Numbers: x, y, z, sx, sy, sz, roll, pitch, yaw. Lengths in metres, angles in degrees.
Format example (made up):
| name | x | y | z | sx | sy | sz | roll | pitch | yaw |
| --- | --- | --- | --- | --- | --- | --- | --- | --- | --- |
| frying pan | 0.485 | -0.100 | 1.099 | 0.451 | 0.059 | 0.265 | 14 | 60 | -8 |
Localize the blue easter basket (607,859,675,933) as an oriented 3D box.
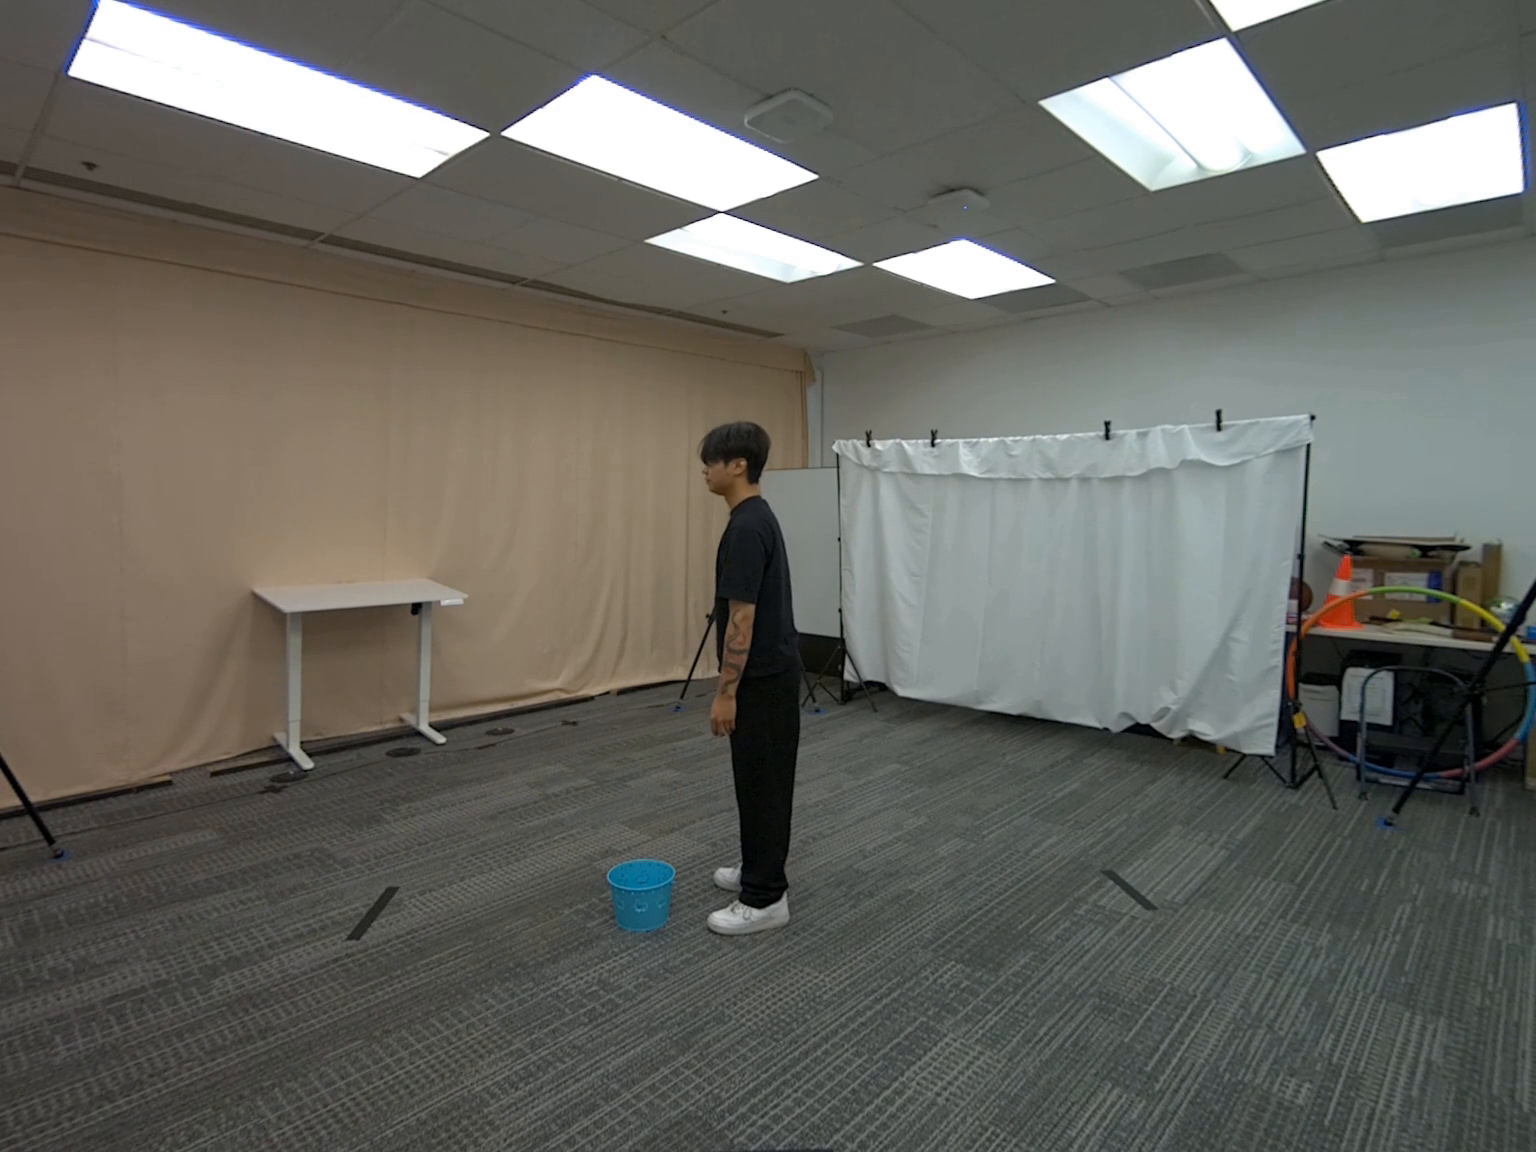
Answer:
| name | x | y | z | sx | sy | sz | roll | pitch | yaw |
| --- | --- | --- | --- | --- | --- | --- | --- | --- | --- |
| blue easter basket | -0.420 | 1.081 | 2.845 | 0.243 | 0.155 | 0.244 | -1 | 4 | -2 |
